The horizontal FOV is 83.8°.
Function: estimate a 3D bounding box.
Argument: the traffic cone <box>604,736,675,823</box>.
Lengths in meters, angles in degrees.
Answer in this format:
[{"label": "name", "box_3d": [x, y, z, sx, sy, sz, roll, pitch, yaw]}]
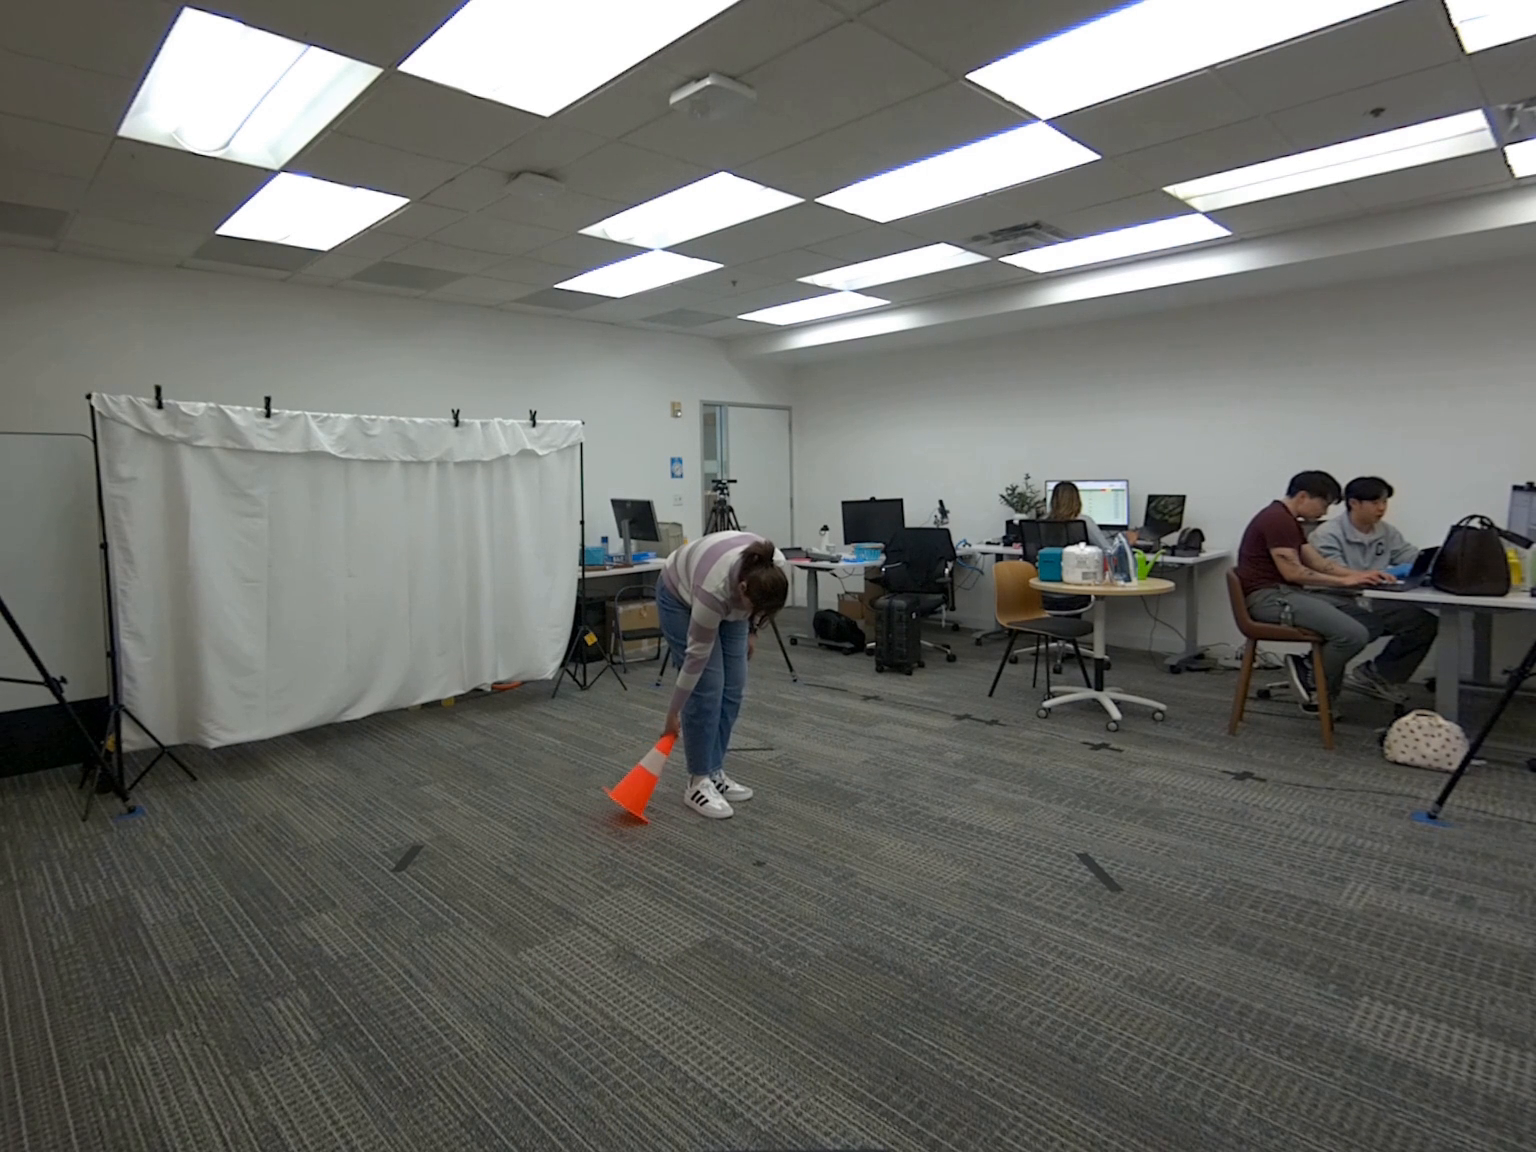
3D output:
[{"label": "traffic cone", "box_3d": [-0.494, 0.797, 3.592, 0.200, 0.384, 0.208, 38, -13, -14]}]
